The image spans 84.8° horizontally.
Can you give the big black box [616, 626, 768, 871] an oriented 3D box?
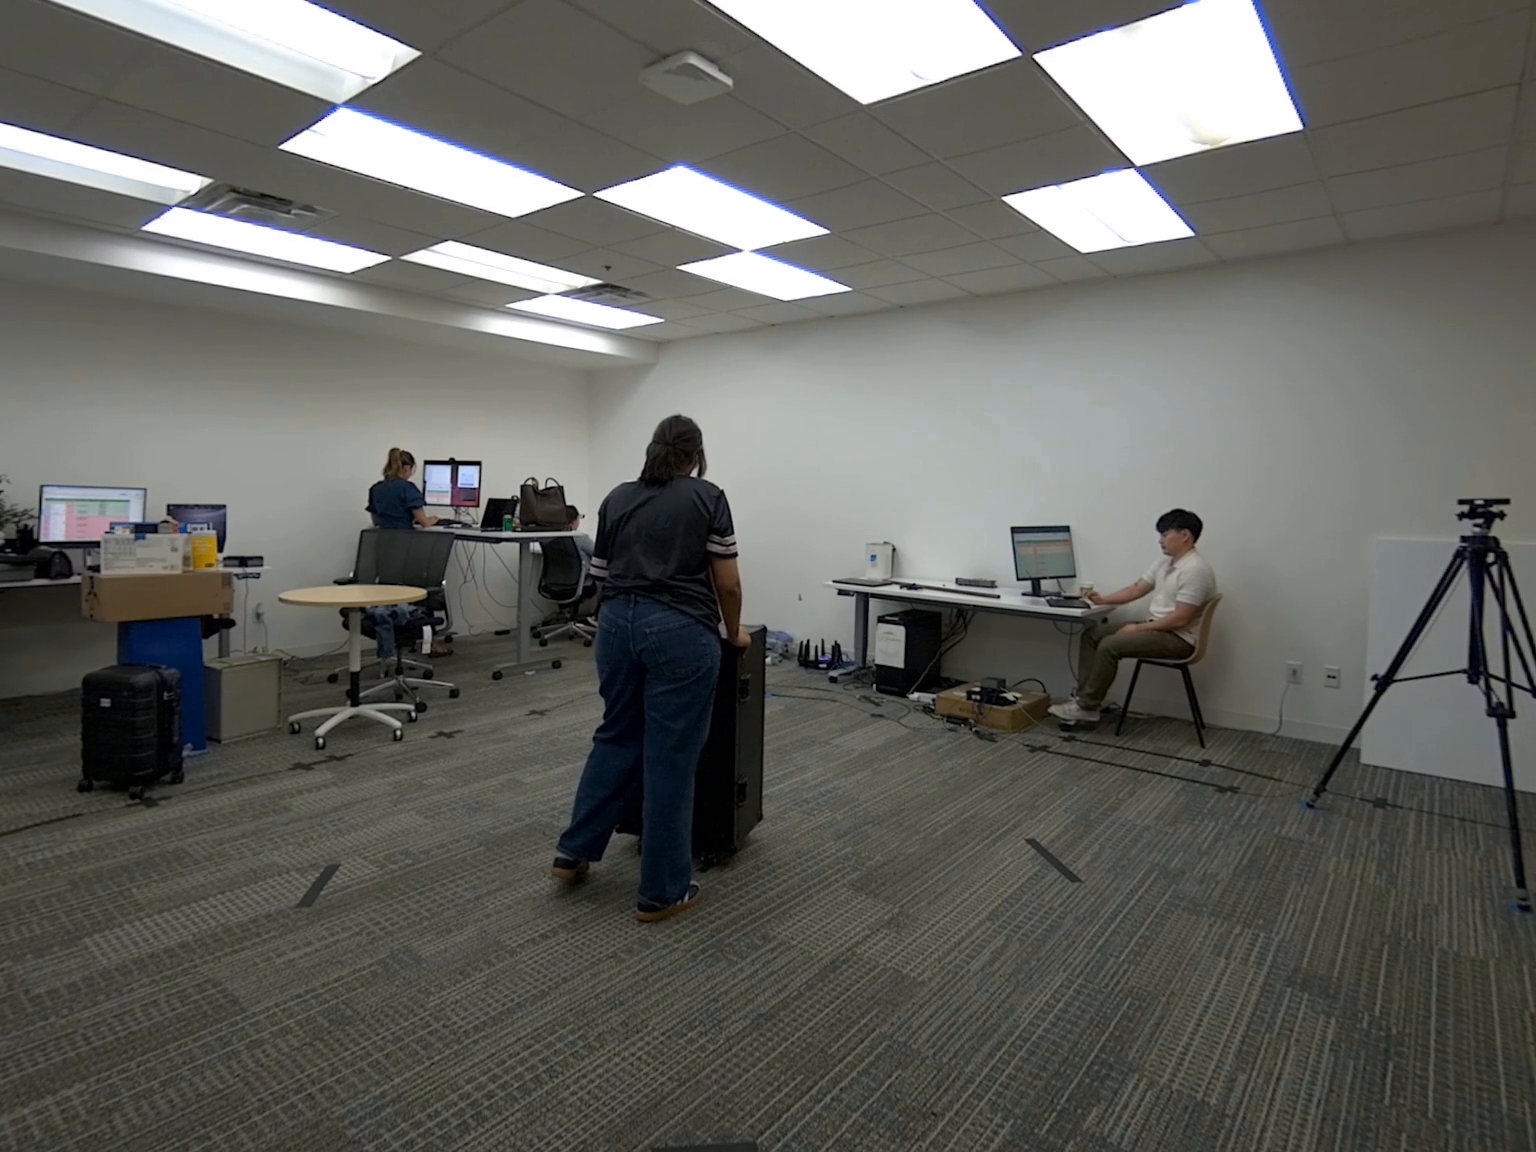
[{"bbox_3d":[-0.303,0.622,3.330,0.532,0.860,0.389,2,2,20],"label":"big black box"}]
